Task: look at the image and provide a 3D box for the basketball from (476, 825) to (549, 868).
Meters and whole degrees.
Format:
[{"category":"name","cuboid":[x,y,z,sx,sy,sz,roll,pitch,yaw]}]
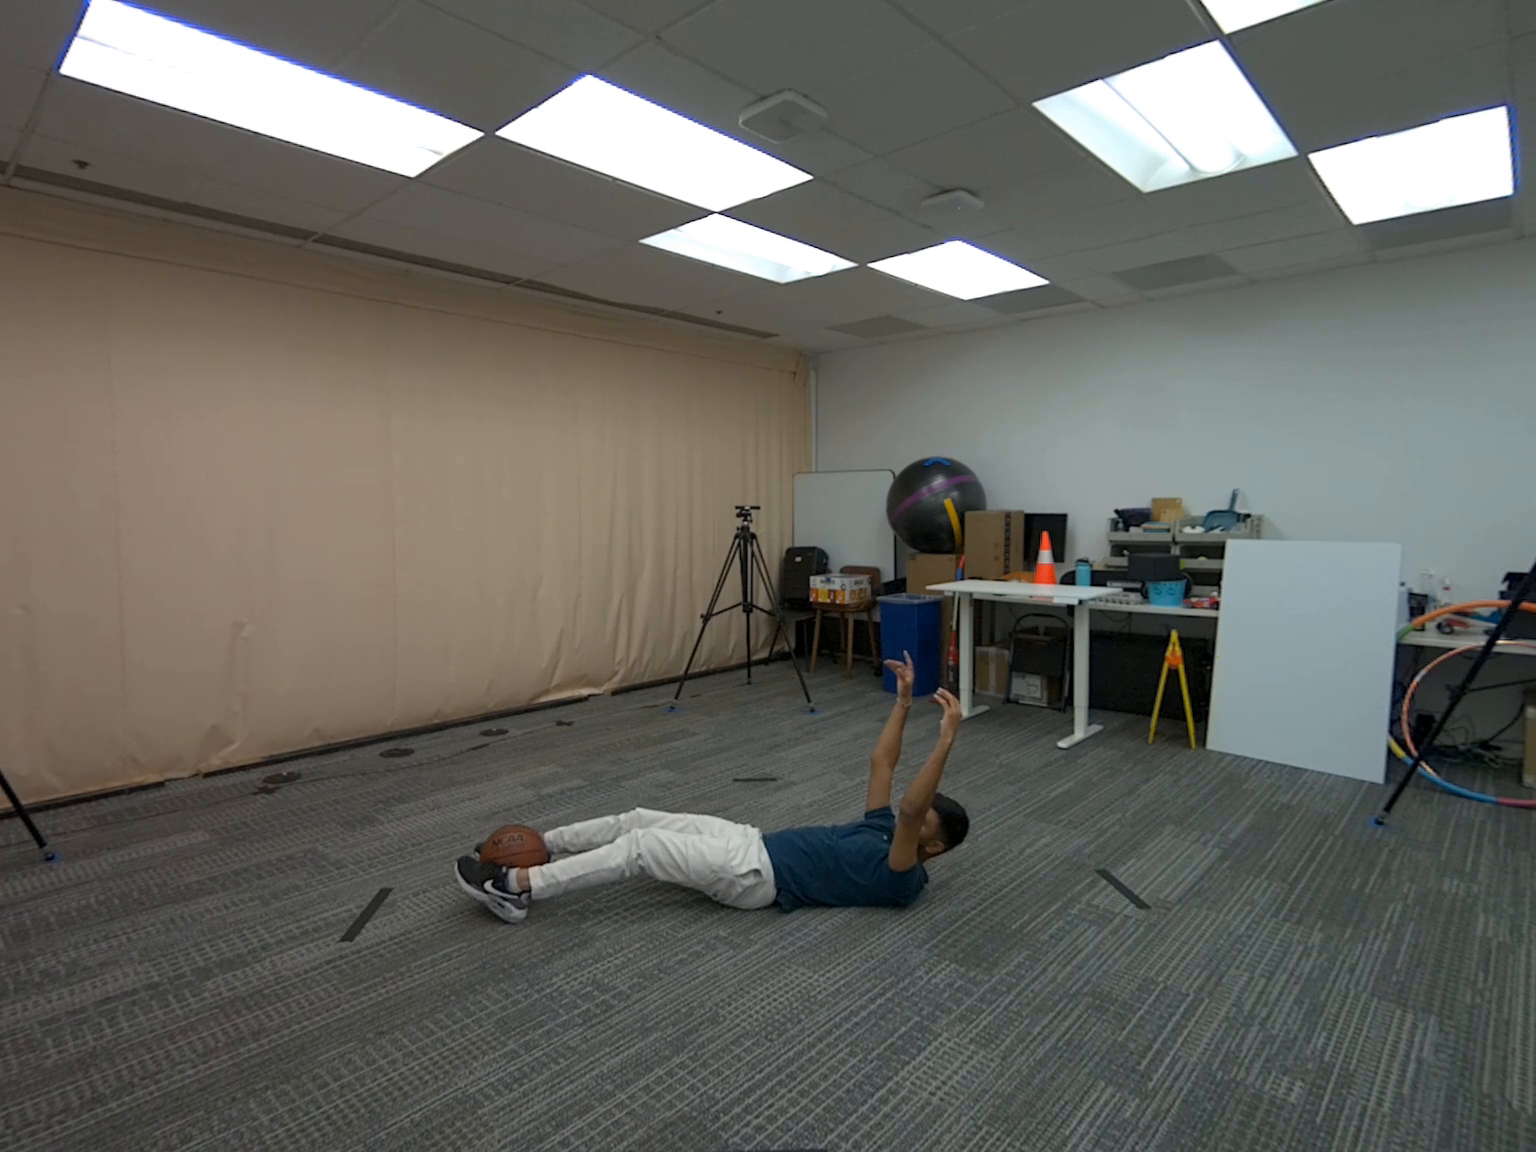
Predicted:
[{"category":"basketball","cuboid":[-0.913,1.019,3.012,0.236,0.235,0.237,0,4,-2]}]
